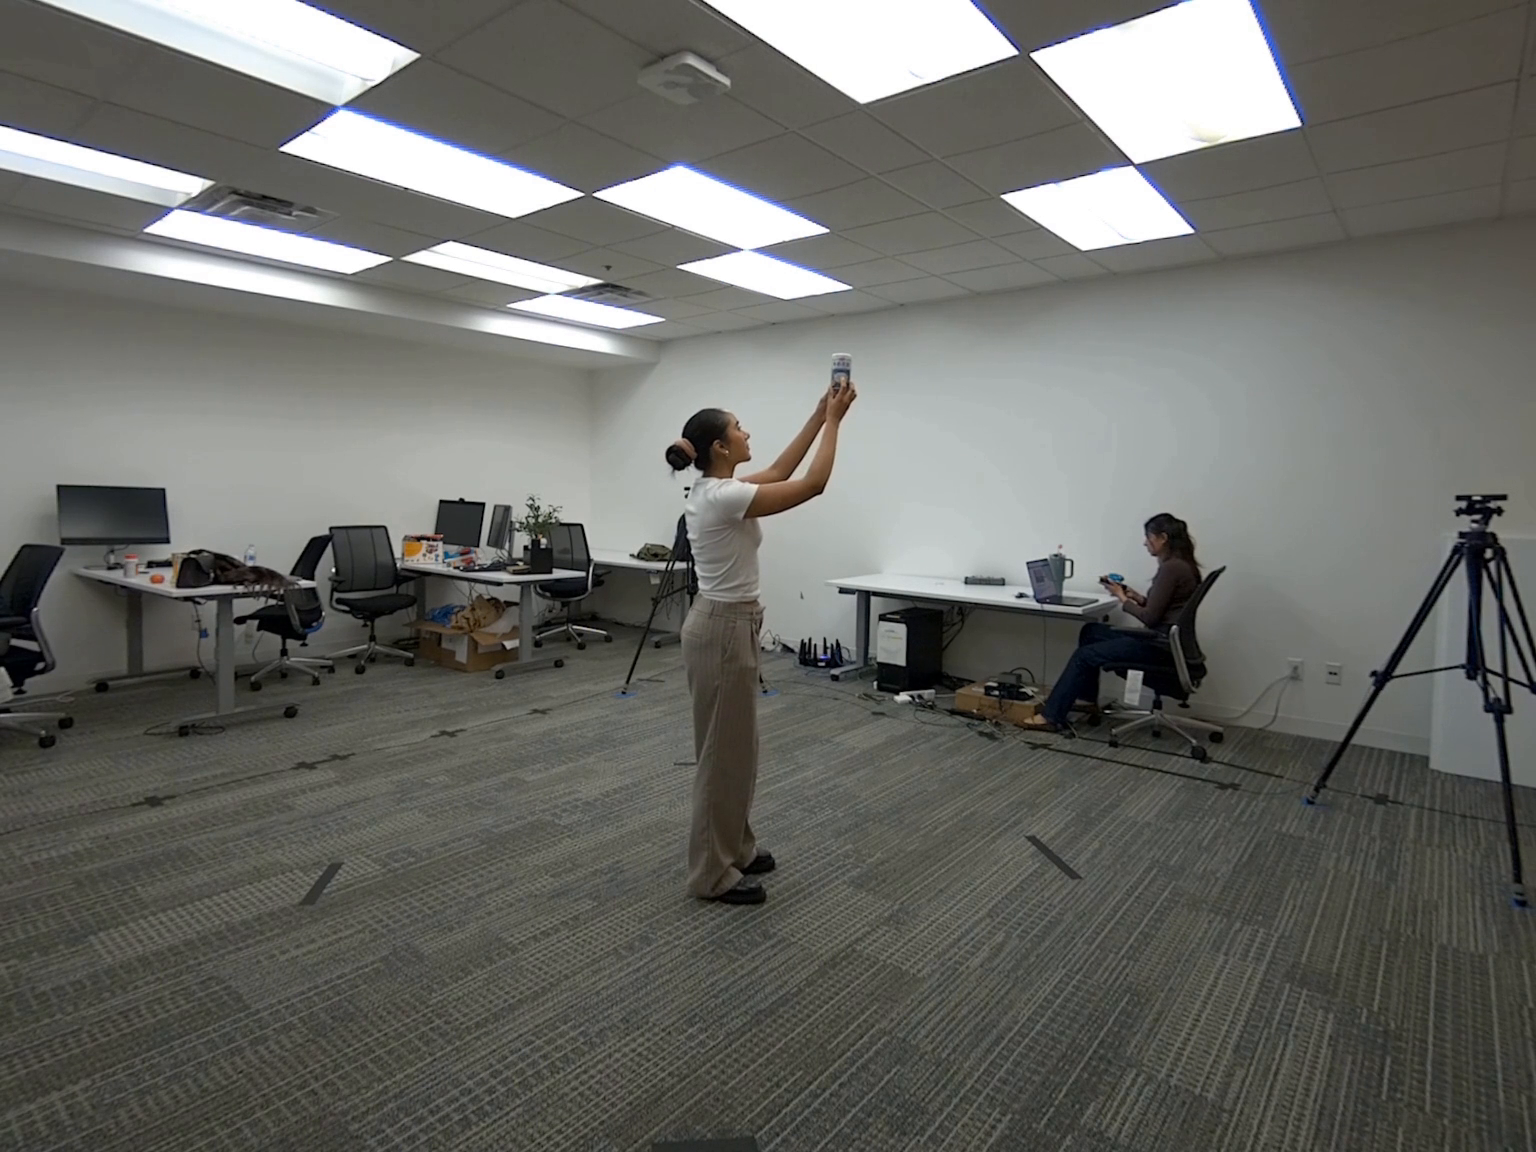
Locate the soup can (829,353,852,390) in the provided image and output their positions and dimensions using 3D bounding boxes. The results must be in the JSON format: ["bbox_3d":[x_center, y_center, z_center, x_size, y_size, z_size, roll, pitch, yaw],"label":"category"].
[{"bbox_3d":[0.238,-0.691,2.863,0.067,0.121,0.067,3,2,-2],"label":"soup can"}]
